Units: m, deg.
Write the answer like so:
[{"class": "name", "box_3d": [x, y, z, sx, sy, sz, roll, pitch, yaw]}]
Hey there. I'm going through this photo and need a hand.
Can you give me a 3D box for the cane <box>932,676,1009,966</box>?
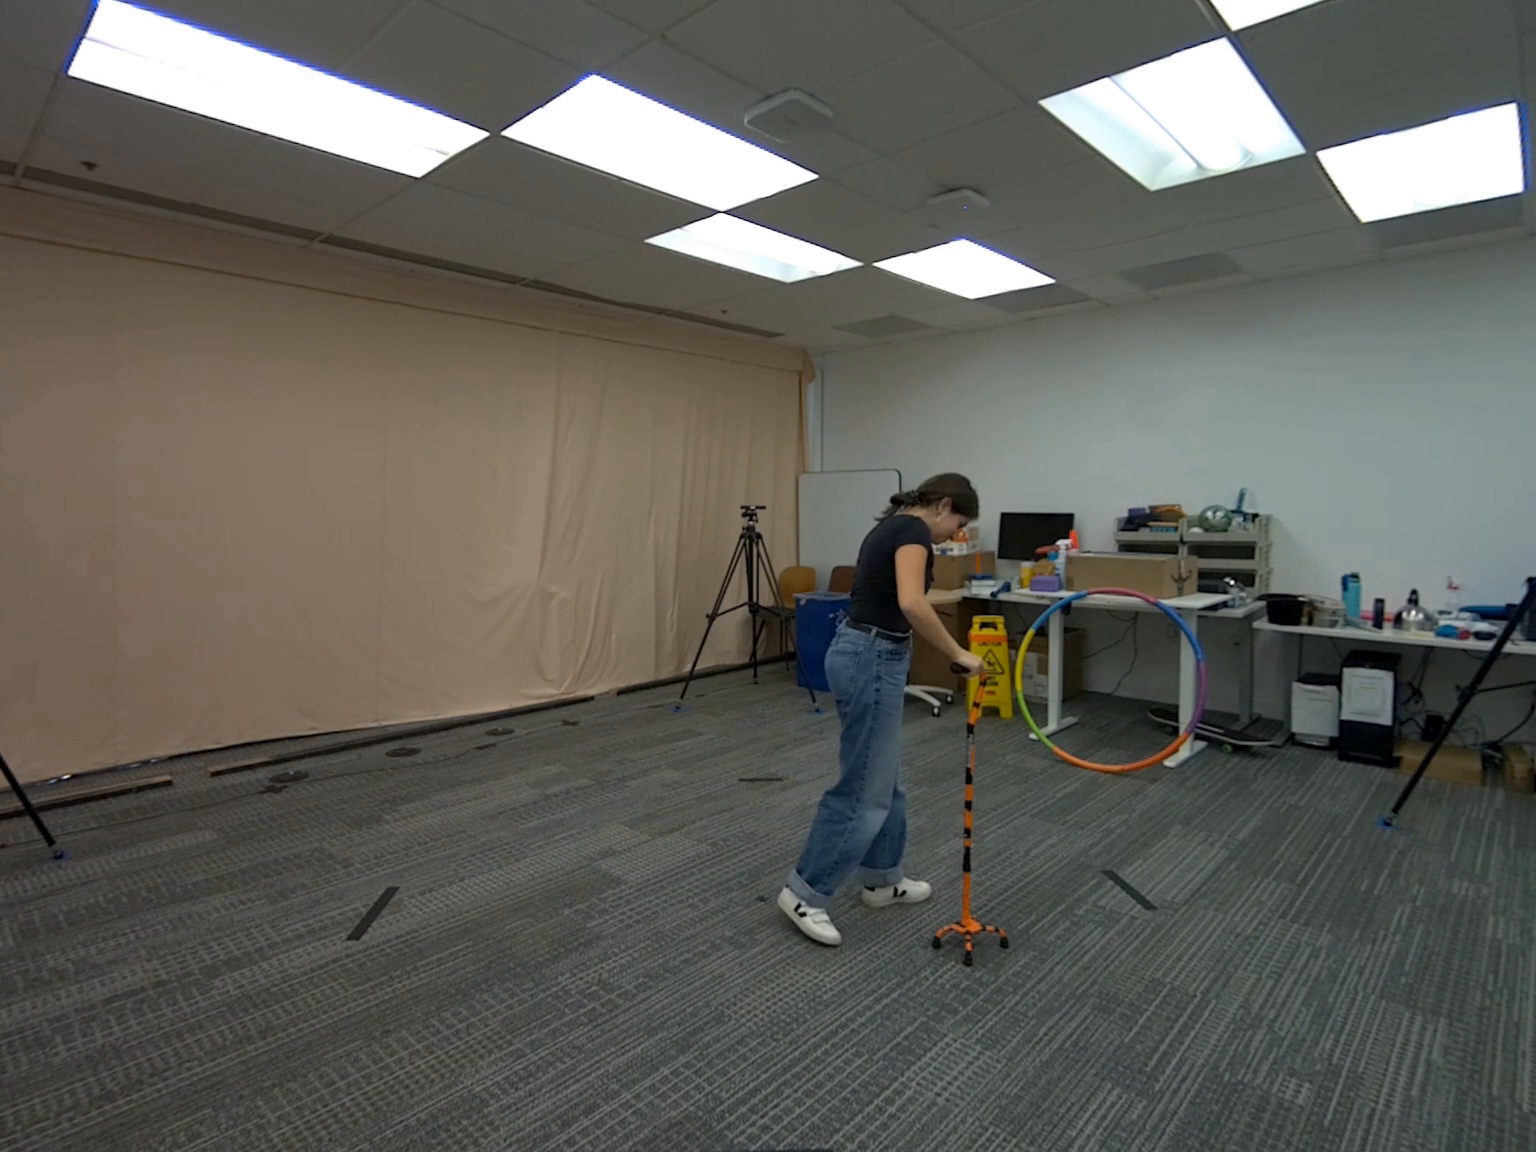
[{"class": "cane", "box_3d": [0.661, 0.726, 2.626, 0.200, 0.906, 0.156, -2, 5, -38]}]
